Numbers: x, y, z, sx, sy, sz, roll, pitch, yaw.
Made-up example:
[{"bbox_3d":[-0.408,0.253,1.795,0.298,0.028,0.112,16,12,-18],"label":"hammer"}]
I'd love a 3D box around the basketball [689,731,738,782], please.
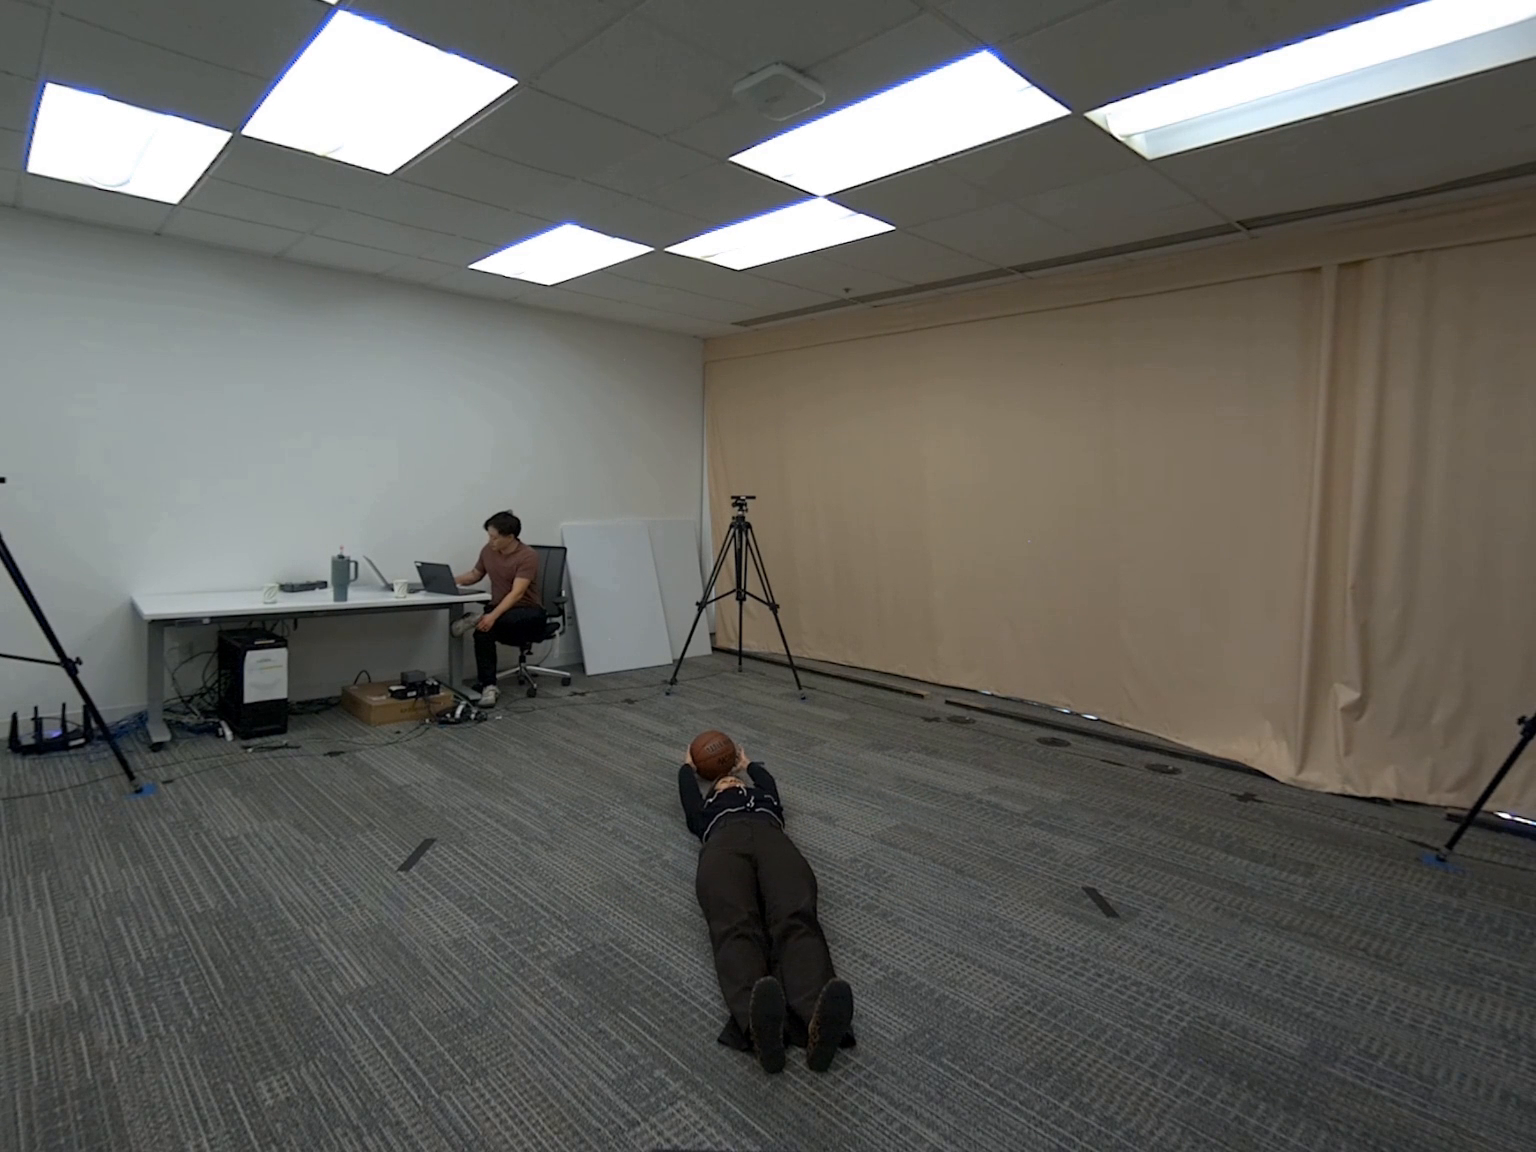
[{"bbox_3d":[-0.289,0.888,4.179,0.236,0.235,0.237,1,4,-1],"label":"basketball"}]
